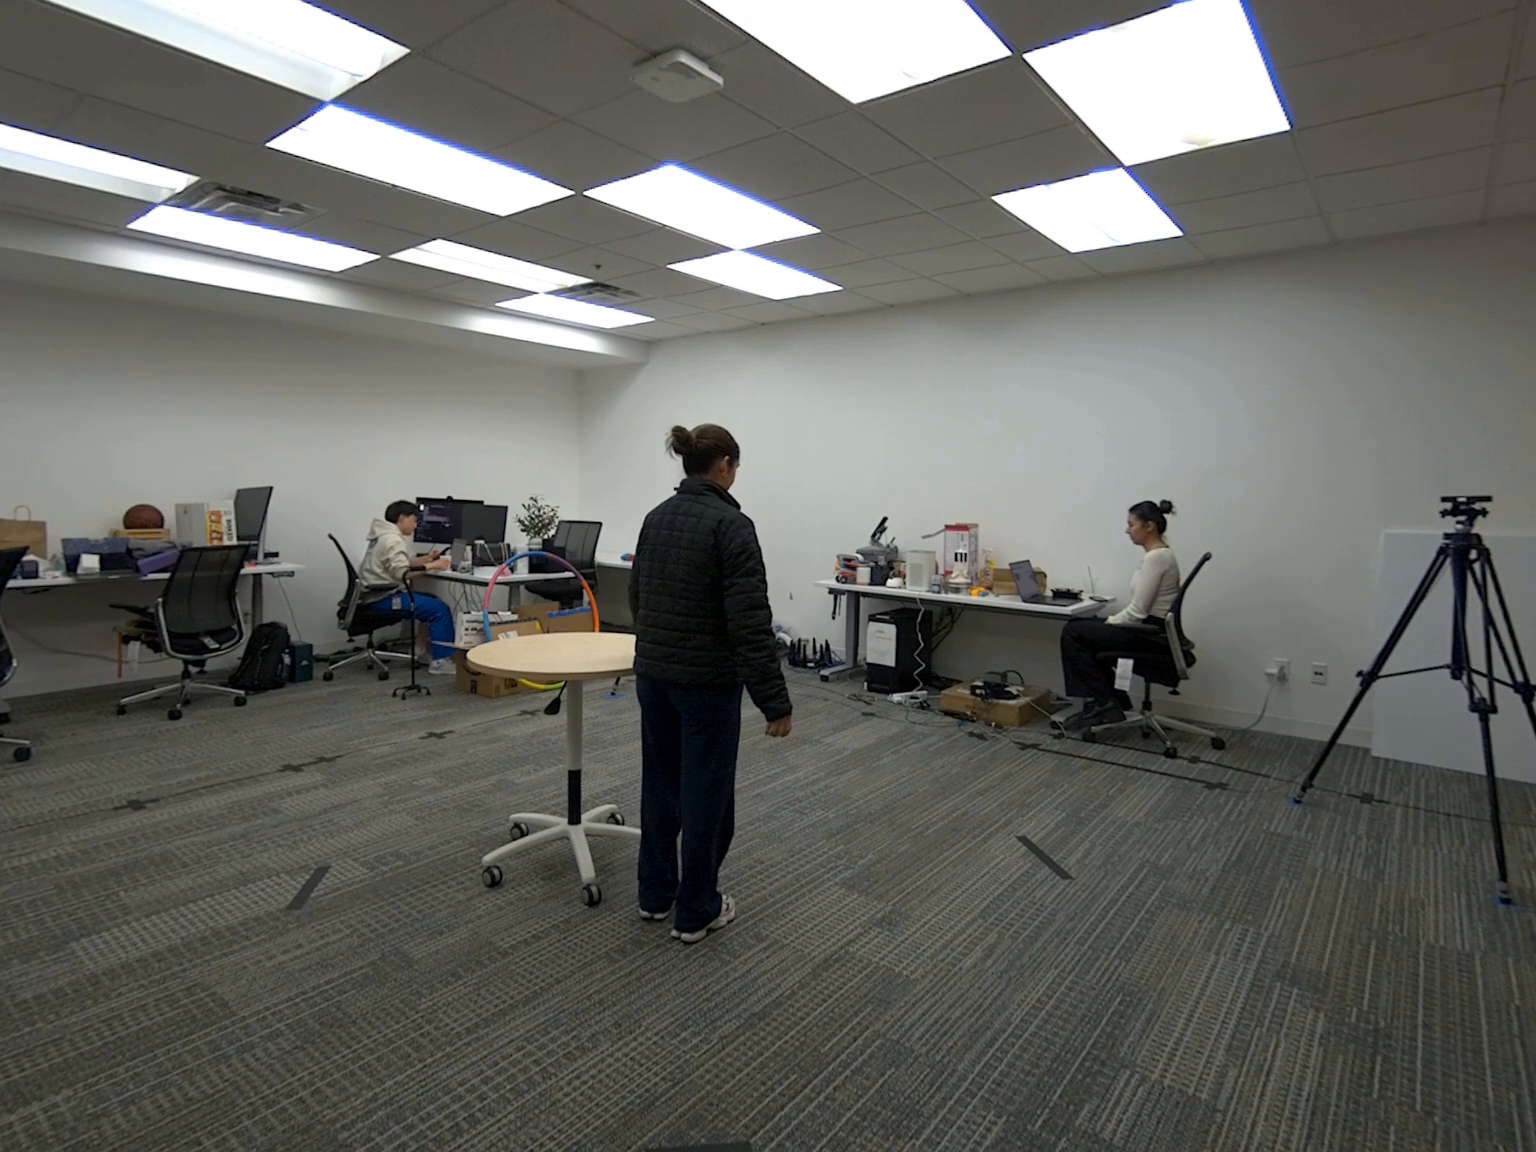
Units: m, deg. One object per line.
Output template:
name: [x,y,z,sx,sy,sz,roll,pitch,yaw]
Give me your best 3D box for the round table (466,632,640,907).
round table: [-0.691,0.659,3.160,0.784,0.784,0.789,0,4,-2]
